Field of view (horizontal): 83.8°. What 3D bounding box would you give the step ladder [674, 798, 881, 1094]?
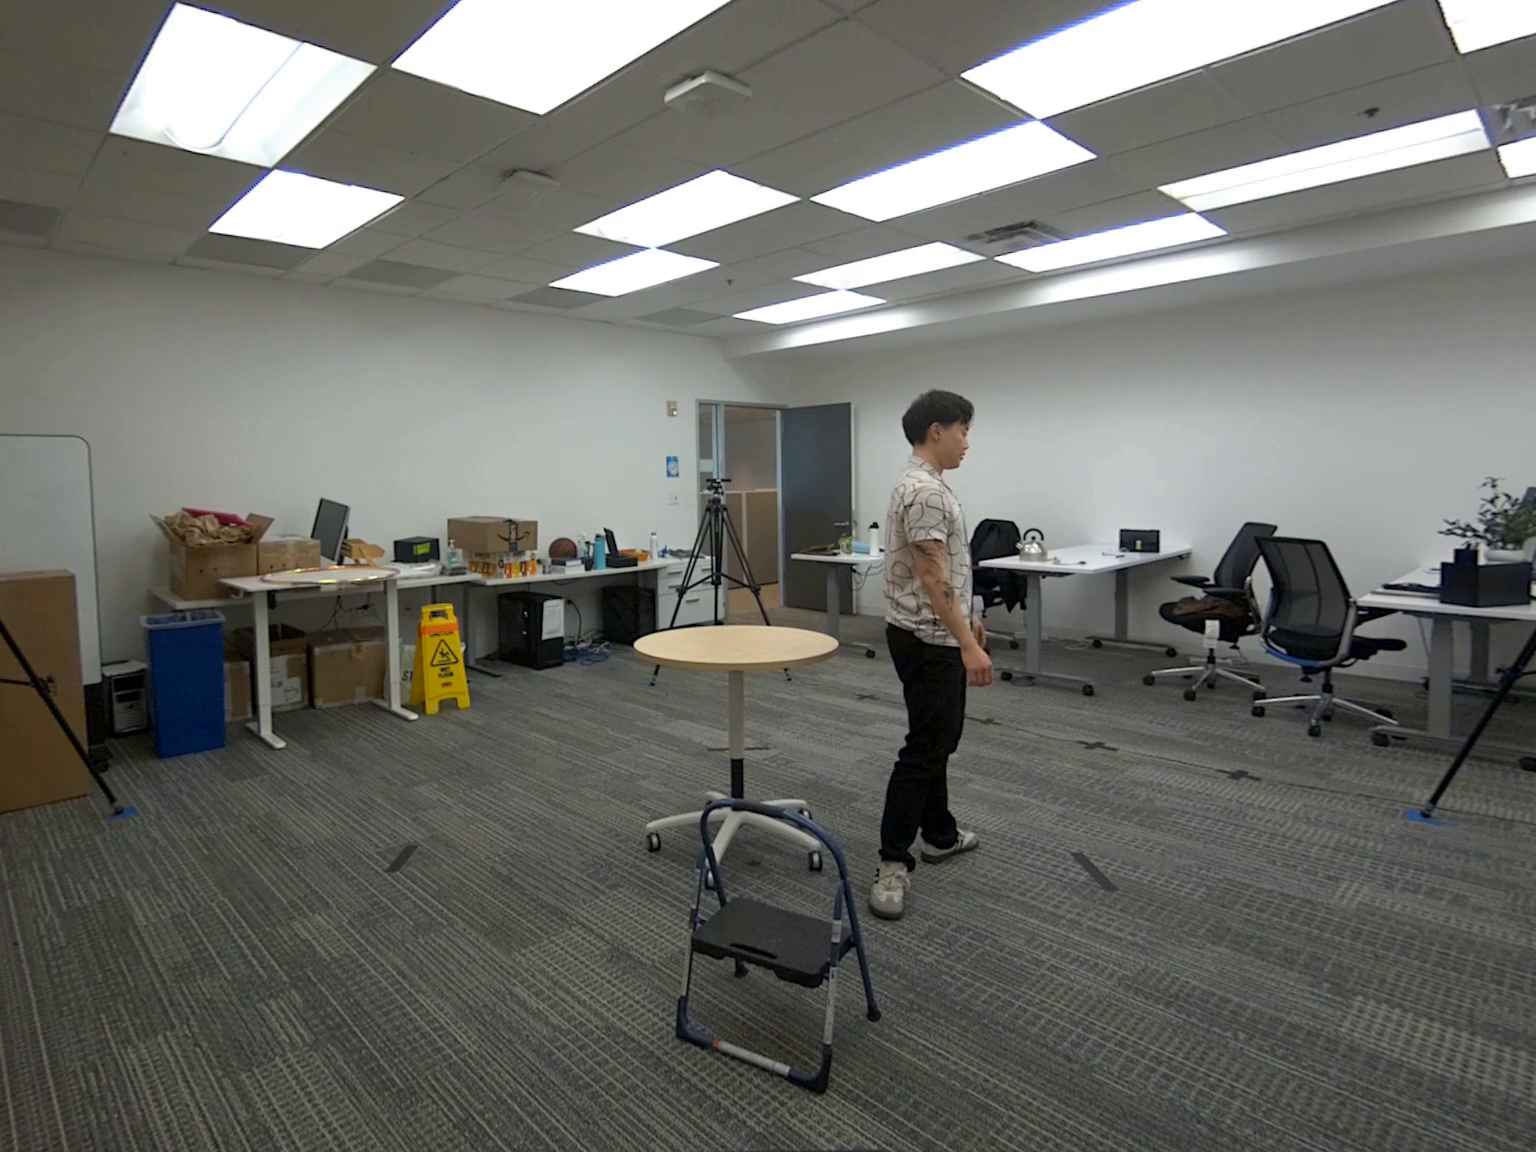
[{"bbox_3d":[0.027,0.853,2.162,0.442,0.603,0.342,2,6,30],"label":"step ladder"}]
